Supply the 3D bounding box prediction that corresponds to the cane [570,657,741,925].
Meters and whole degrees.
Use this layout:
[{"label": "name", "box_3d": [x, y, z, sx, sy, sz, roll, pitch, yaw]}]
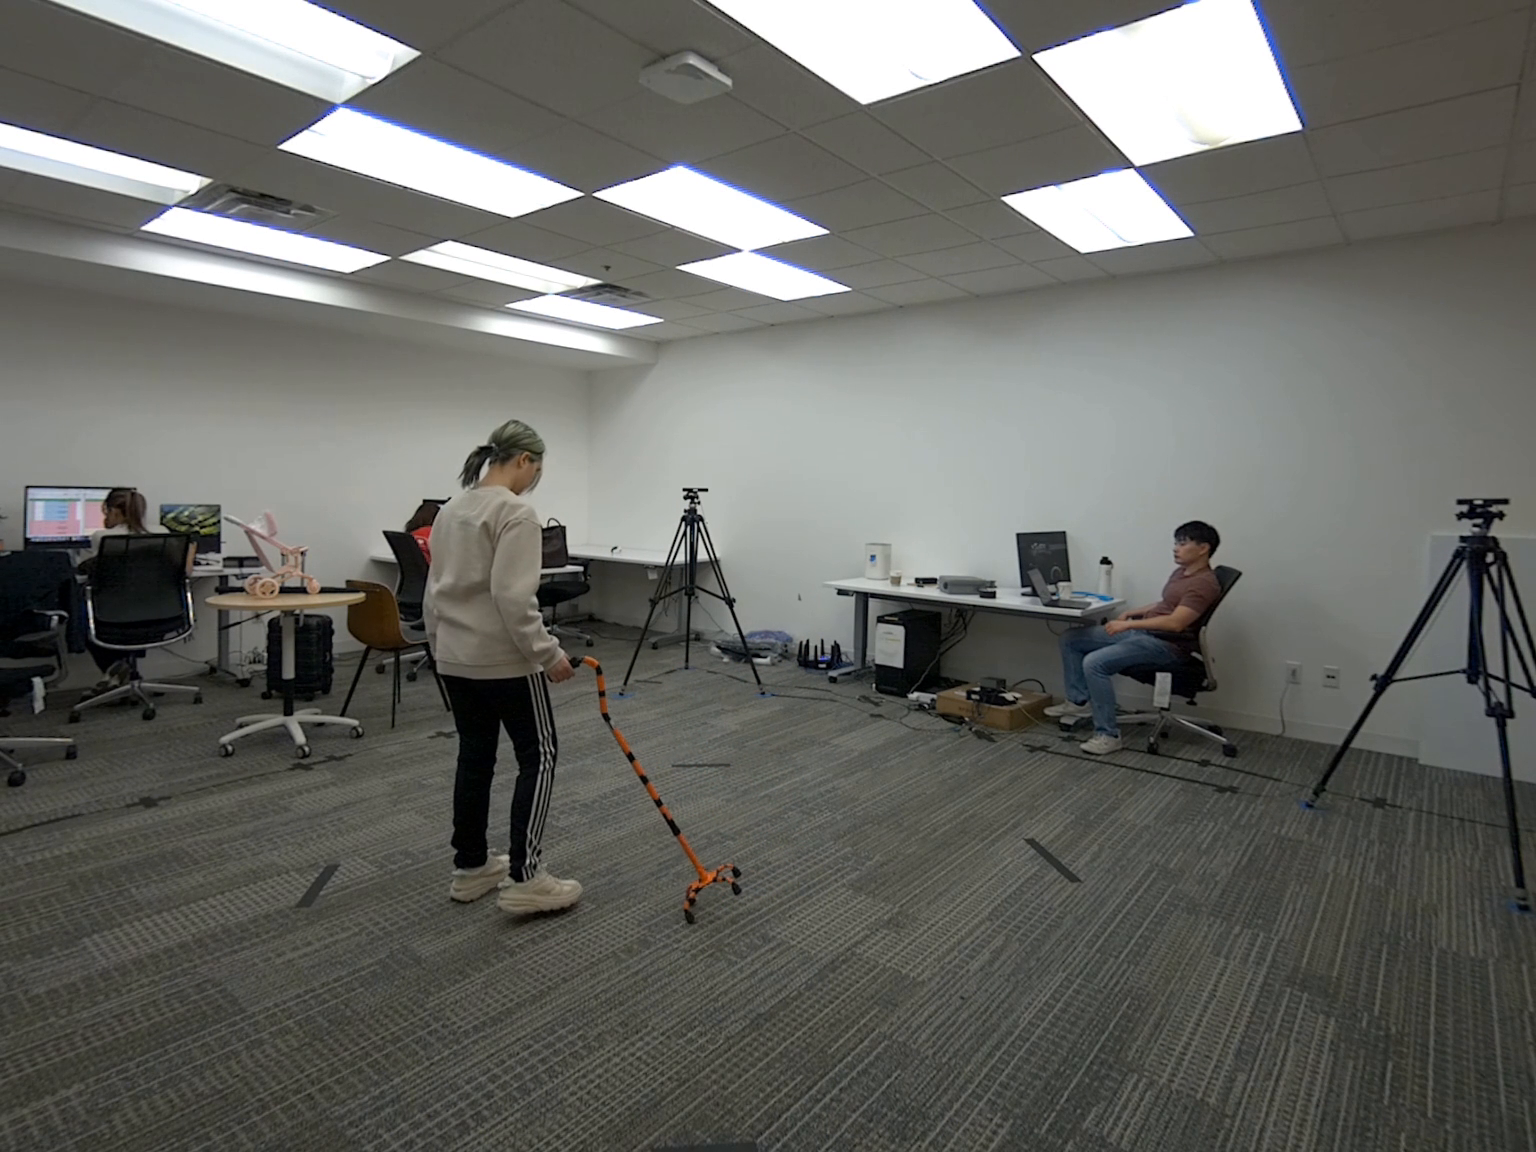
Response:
[{"label": "cane", "box_3d": [-0.405, 0.669, 2.763, 0.206, 0.906, 0.152, -30, 2, 1]}]
